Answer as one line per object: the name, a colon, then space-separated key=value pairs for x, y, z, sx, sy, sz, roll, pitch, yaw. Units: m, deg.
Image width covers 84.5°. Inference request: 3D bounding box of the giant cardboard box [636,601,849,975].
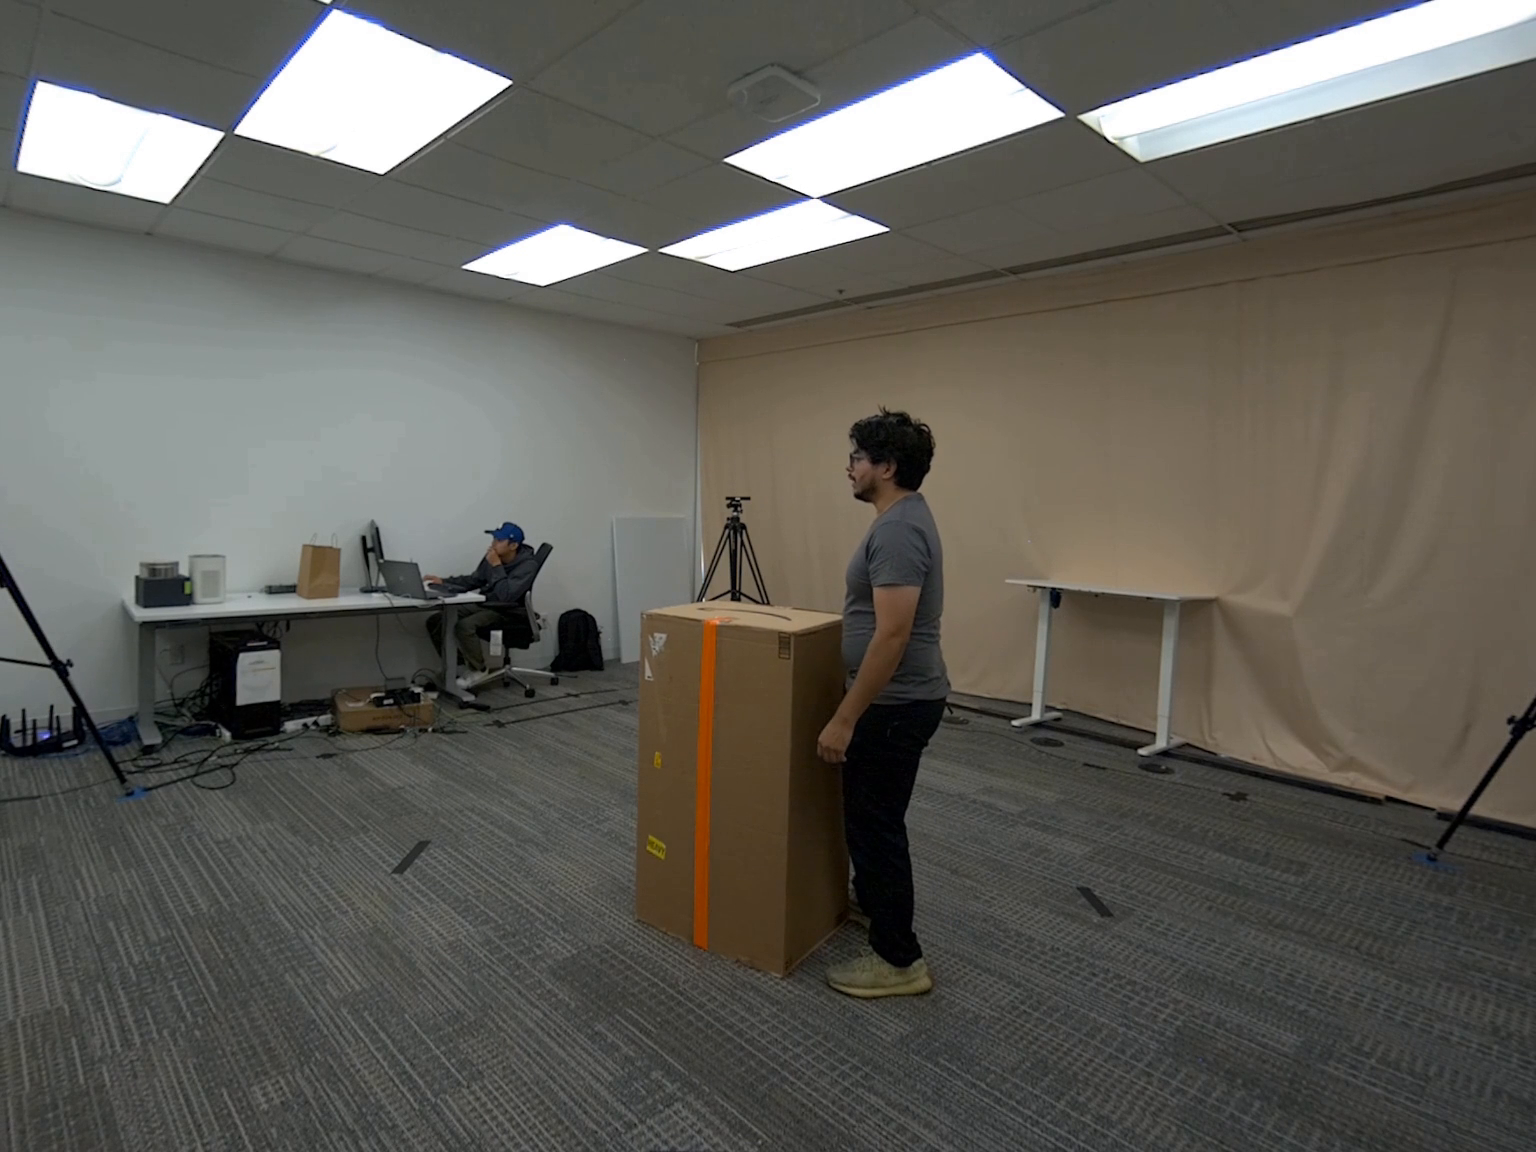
giant cardboard box: x=-0.084 y=0.636 z=2.744 sx=0.598 sy=1.025 sz=0.437 roll=4 pitch=4 yaw=34
